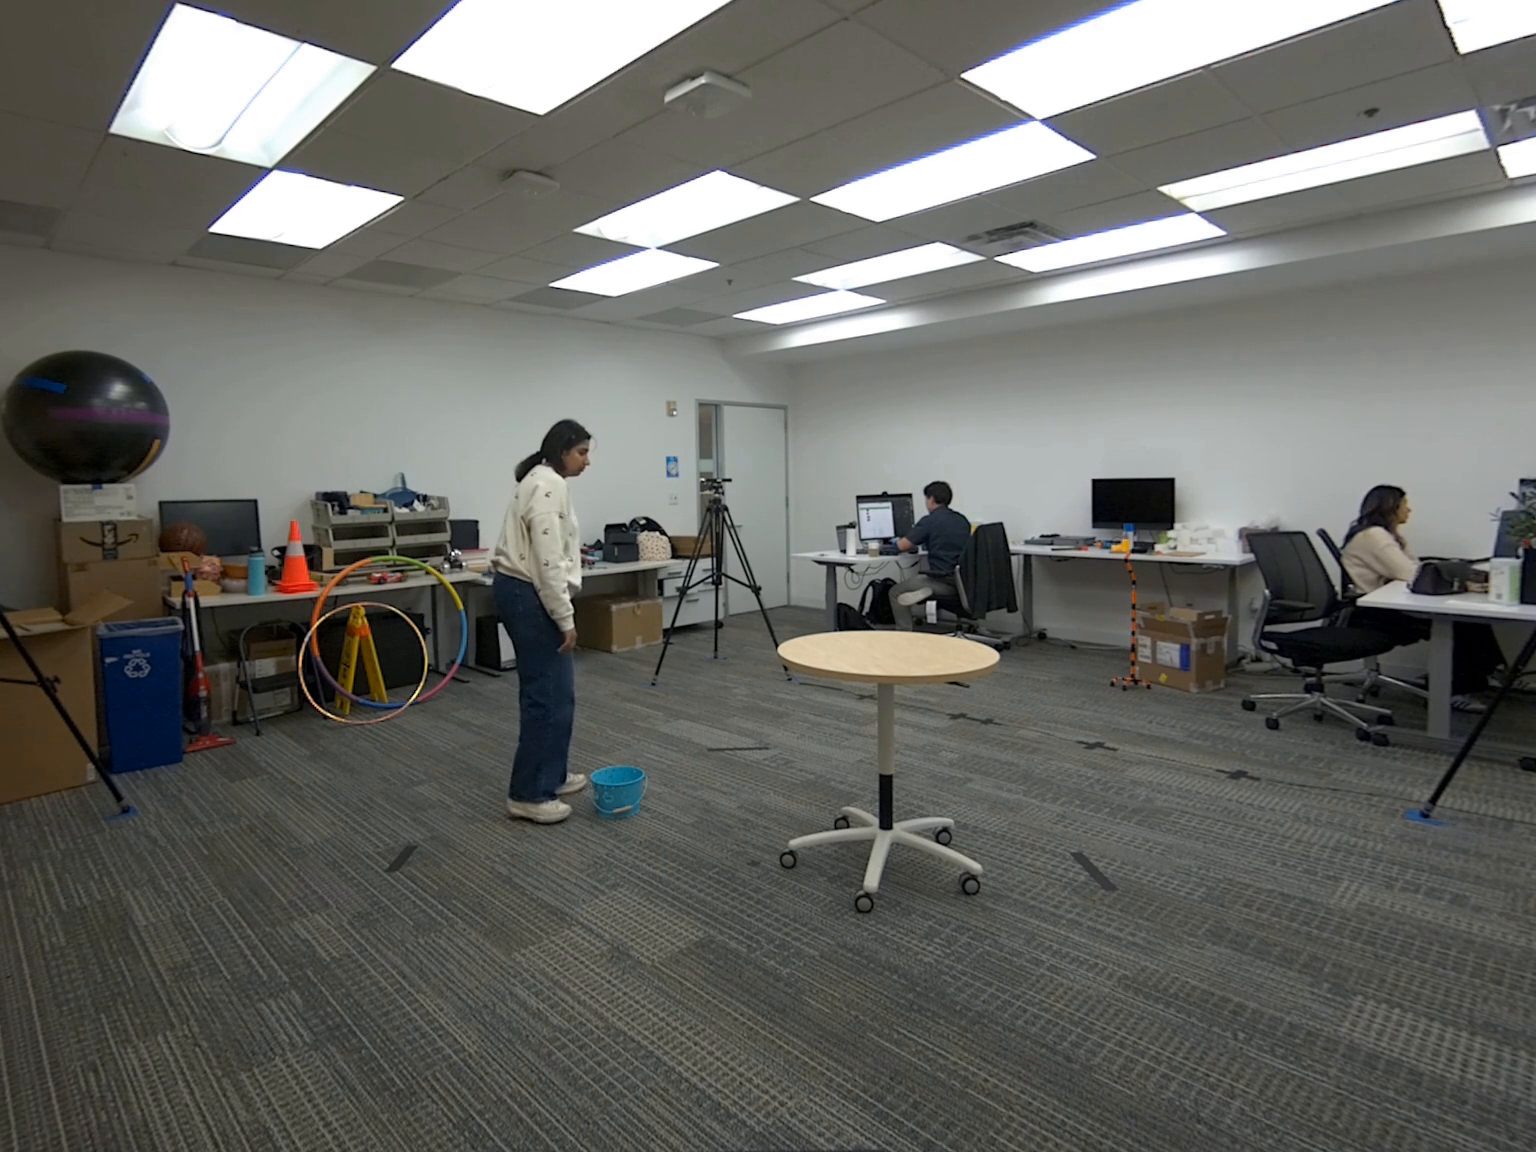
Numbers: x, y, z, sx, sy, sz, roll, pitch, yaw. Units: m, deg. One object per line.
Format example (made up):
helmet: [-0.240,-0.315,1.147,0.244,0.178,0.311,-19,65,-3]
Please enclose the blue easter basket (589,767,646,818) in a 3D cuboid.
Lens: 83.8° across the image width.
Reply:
blue easter basket: [-0.642,0.915,3.626,0.243,0.155,0.245,-1,5,-2]
